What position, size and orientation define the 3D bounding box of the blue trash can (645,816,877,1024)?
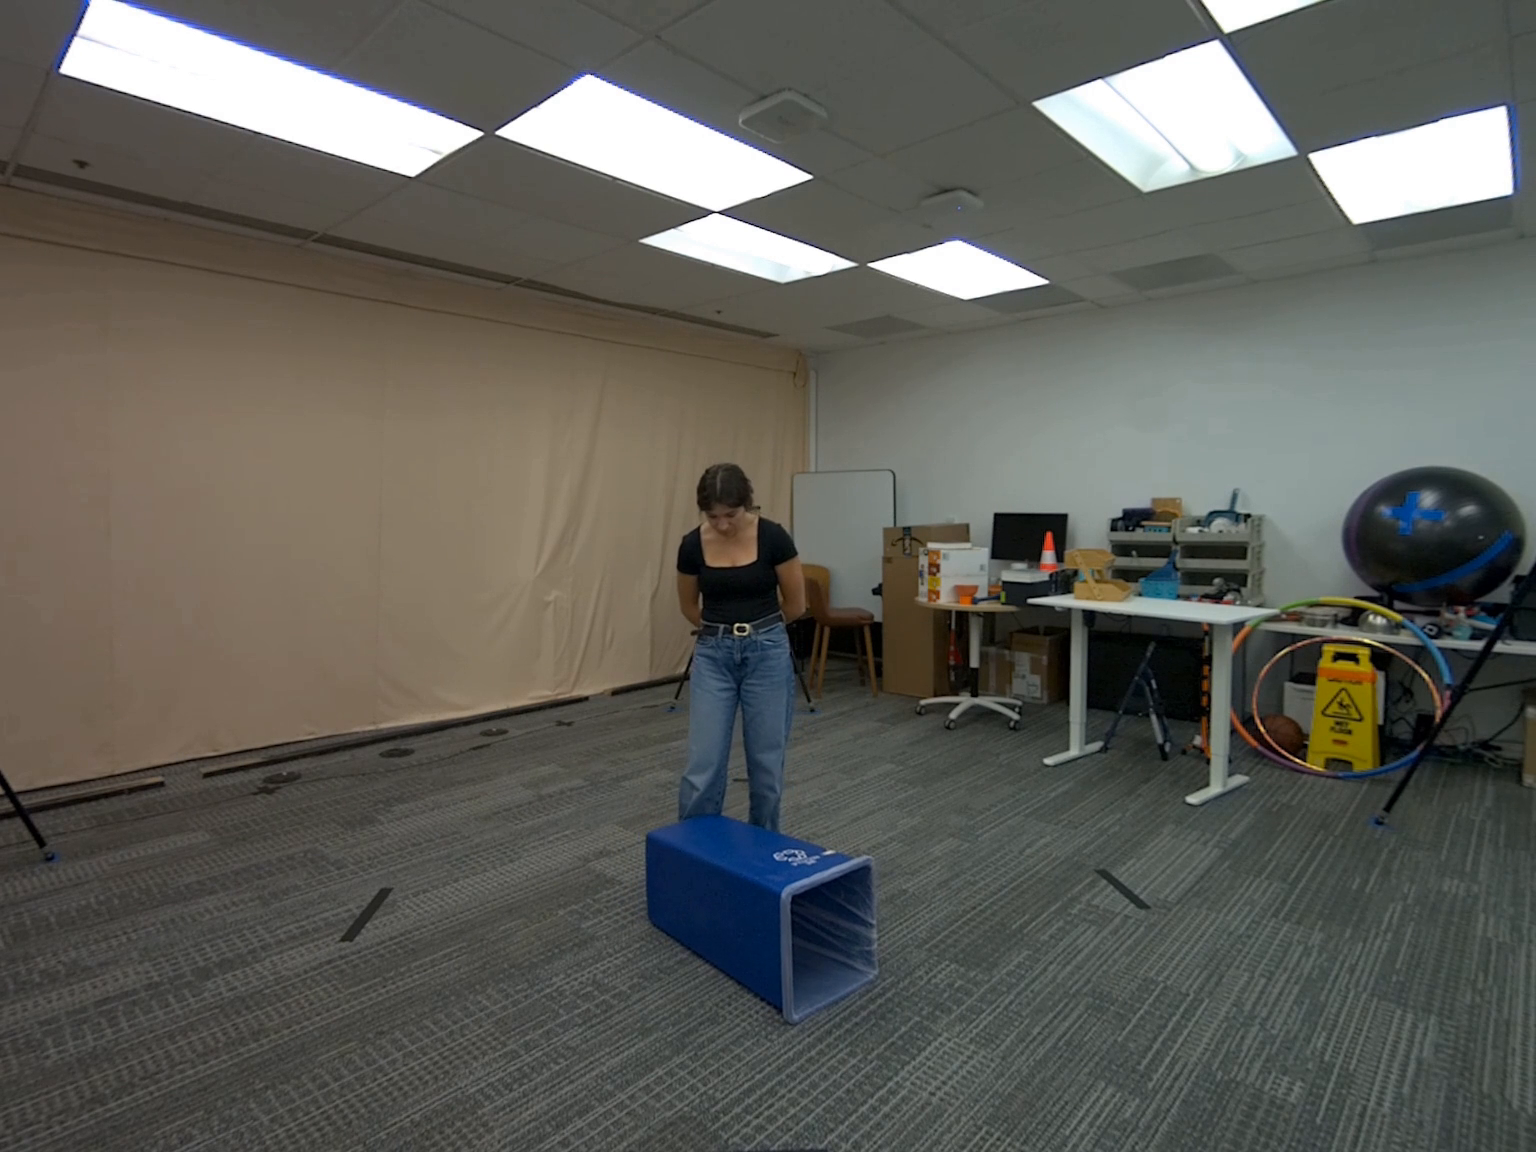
[{"bbox_3d":[-0.051,1.009,2.620,0.362,0.378,0.736,-3,2,-42],"label":"blue trash can"}]
